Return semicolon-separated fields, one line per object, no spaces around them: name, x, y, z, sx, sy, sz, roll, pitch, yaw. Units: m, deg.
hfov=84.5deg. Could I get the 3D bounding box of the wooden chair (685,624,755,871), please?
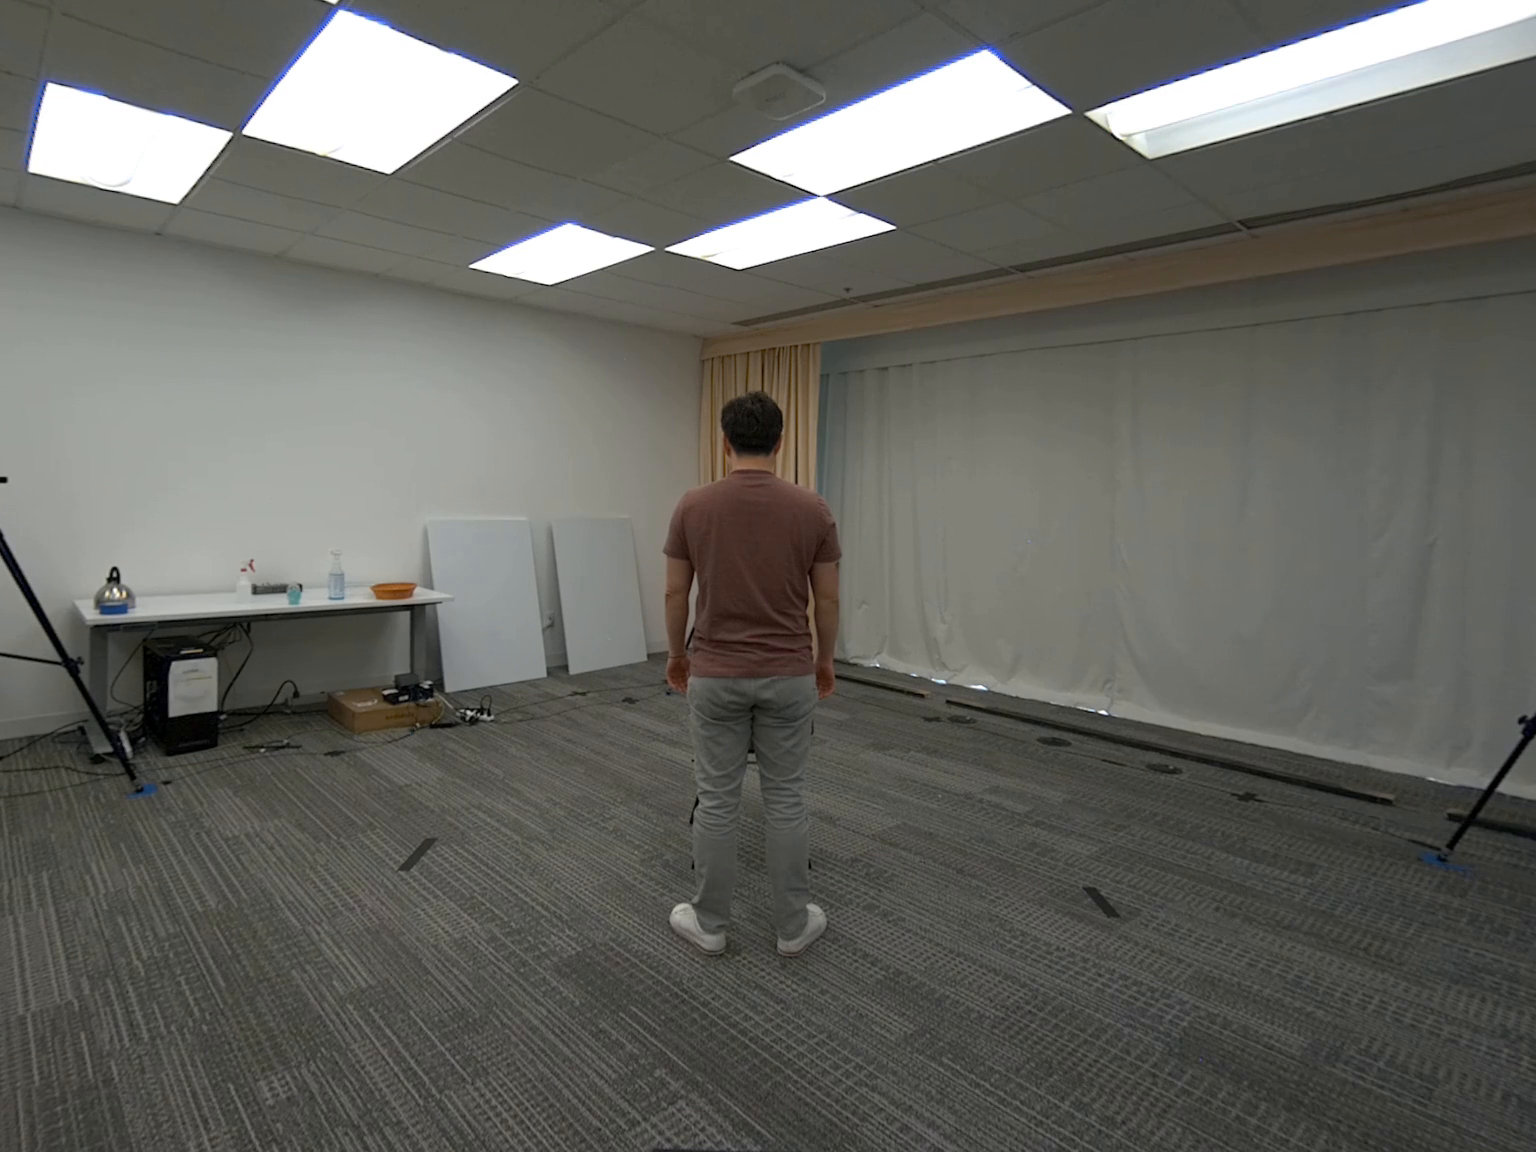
wooden chair;-0.079;0.654;3.356;0.476;0.872;0.528;0;8;-5
